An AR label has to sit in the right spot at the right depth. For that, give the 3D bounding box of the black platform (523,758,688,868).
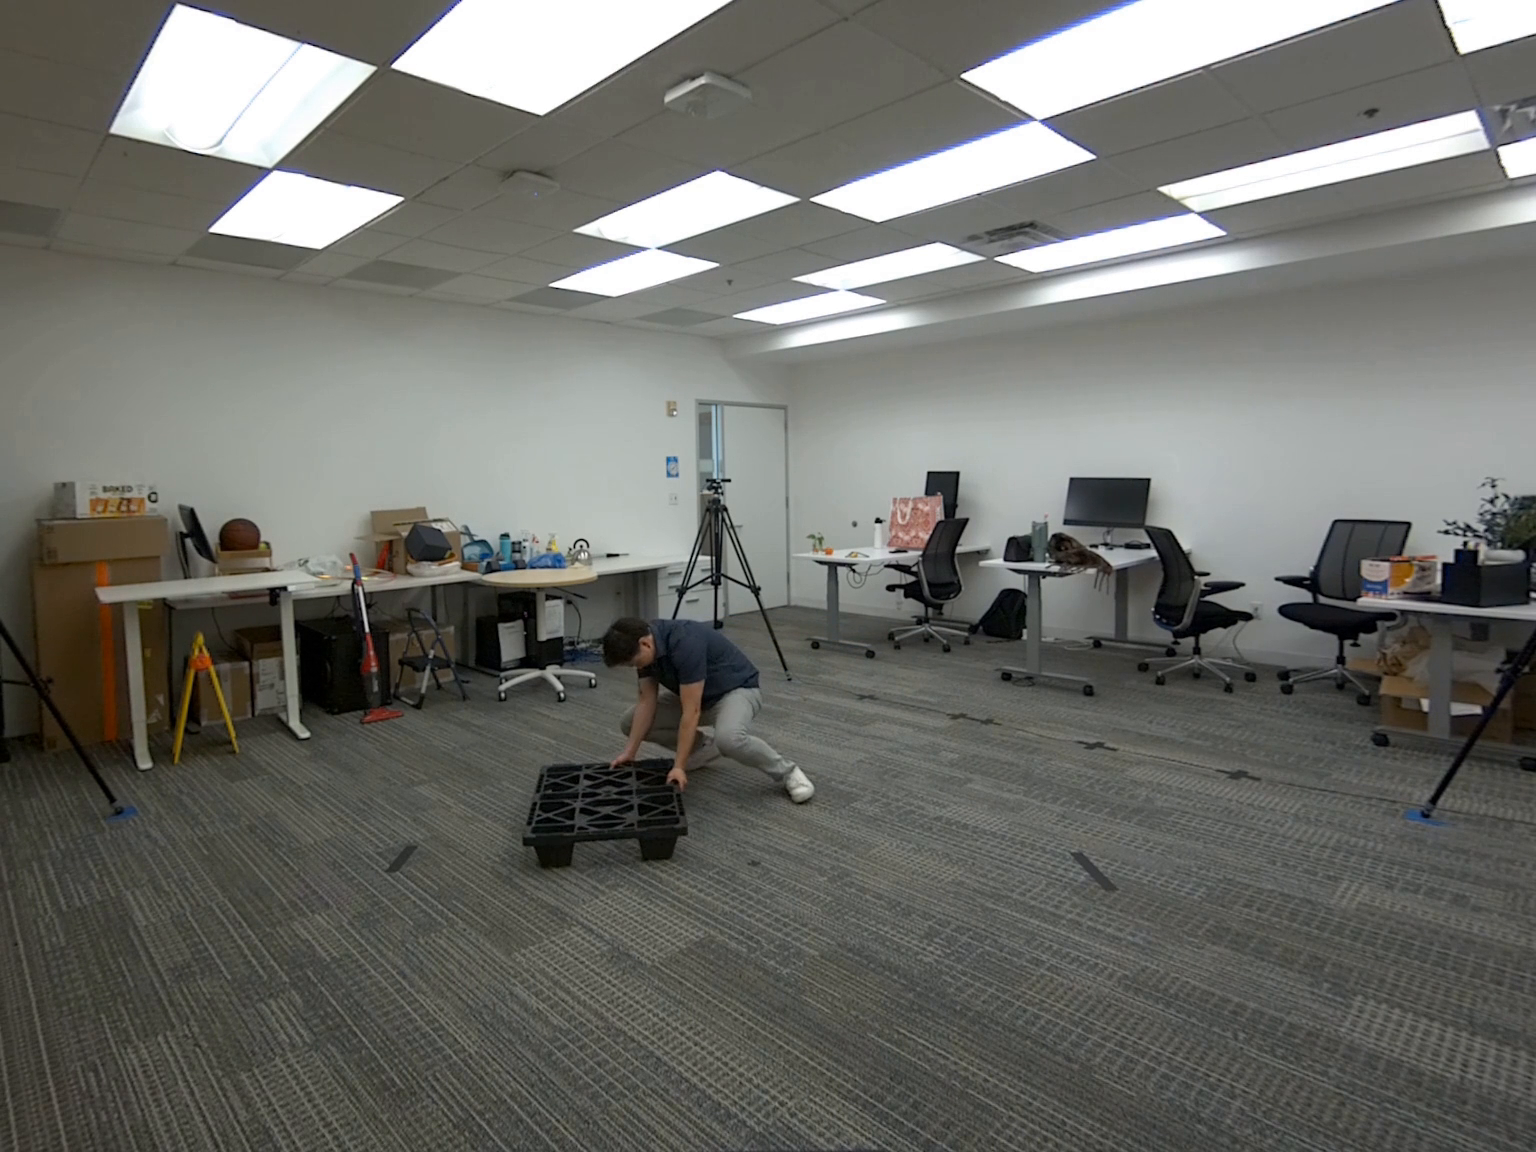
[{"bbox_3d":[-0.655,0.947,3.476,0.601,0.143,0.815,-3,6,-9],"label":"black platform"}]
